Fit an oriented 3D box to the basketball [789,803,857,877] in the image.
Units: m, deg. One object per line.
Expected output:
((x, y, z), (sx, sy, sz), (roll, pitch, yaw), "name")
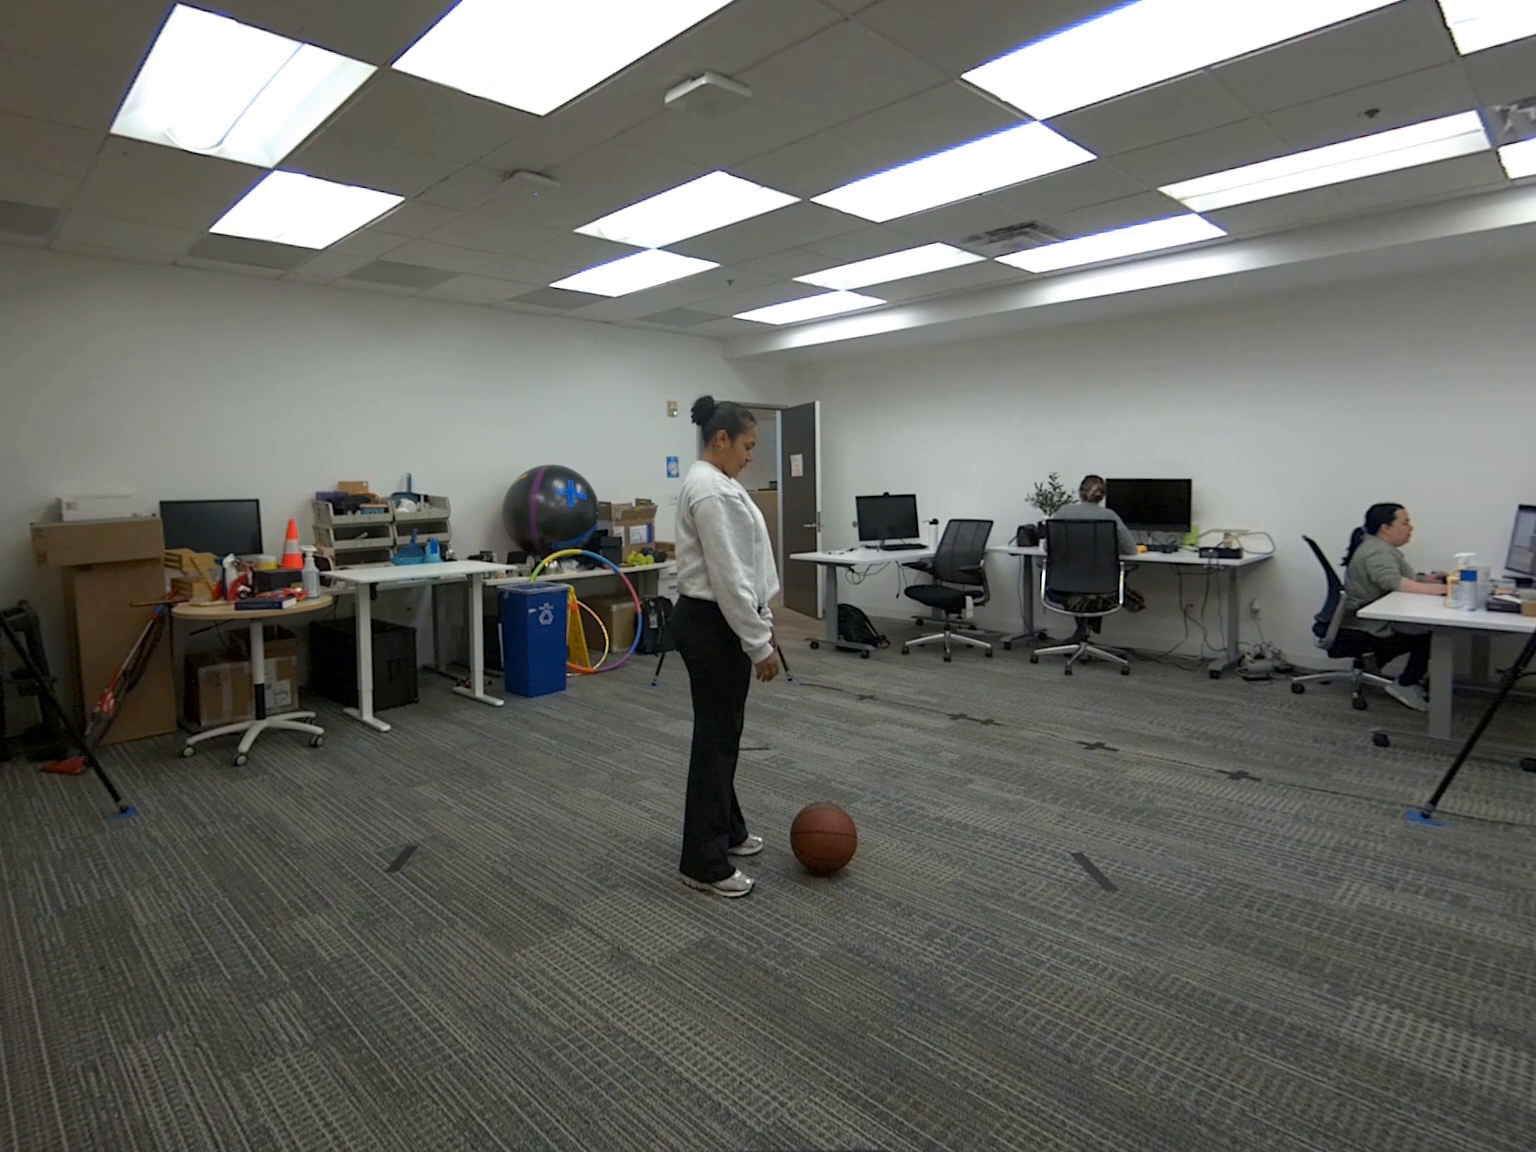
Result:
((0.196, 0.924, 3.033), (0.236, 0.235, 0.237), (-1, 5, -2), "basketball")
